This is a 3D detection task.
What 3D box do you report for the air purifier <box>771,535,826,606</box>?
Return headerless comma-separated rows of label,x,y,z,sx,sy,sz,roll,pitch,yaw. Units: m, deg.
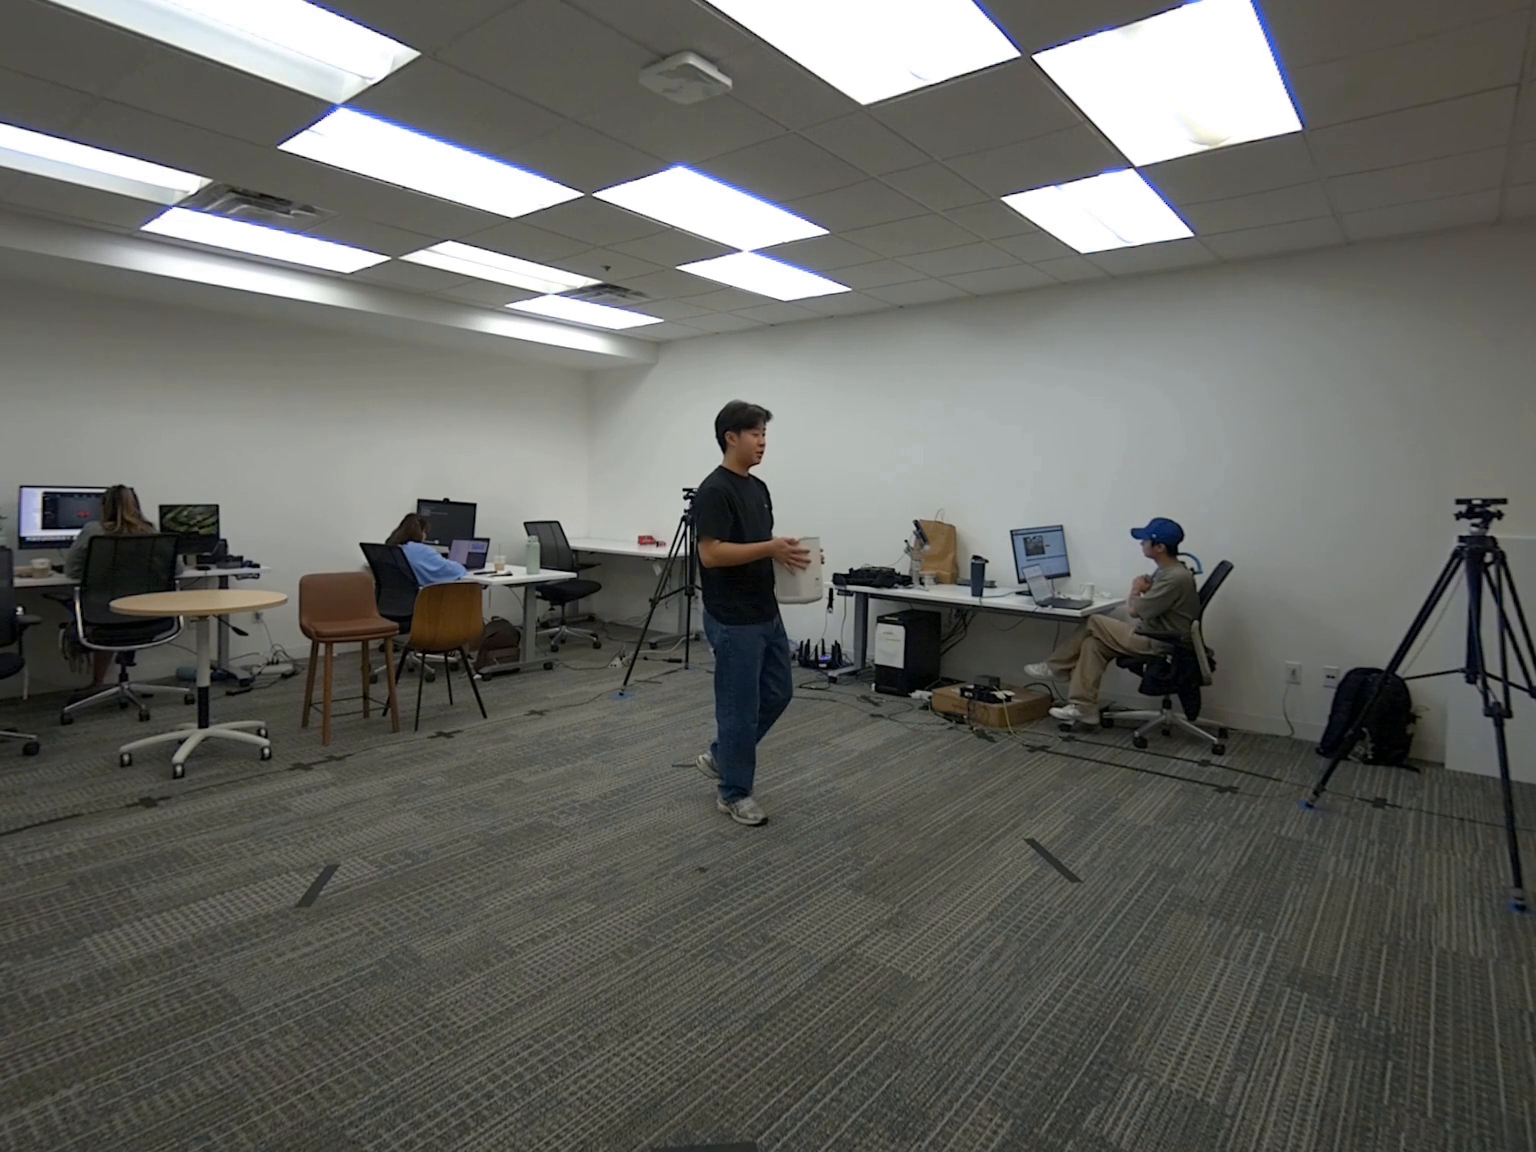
air purifier,0.110,-0.025,3.485,0.176,0.265,0.167,-6,0,28
